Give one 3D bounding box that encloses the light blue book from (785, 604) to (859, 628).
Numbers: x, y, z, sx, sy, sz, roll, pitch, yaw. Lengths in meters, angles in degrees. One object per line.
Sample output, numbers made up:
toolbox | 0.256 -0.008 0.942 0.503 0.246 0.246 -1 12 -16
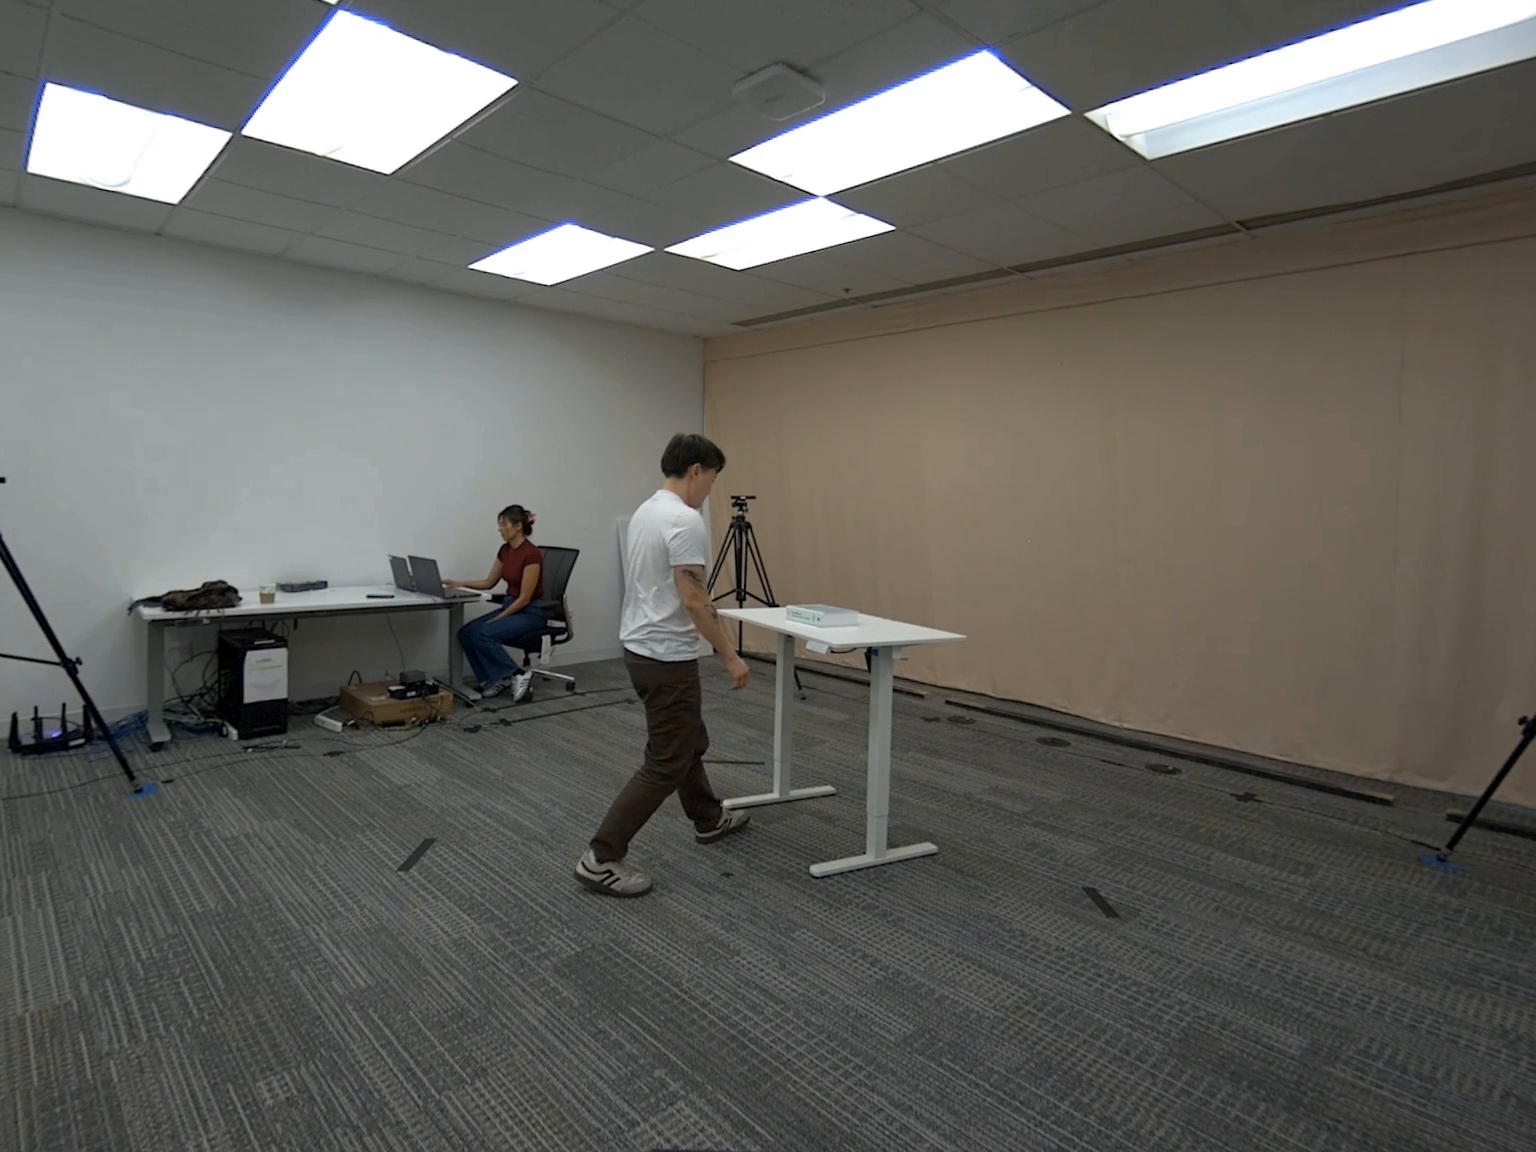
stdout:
light blue book | 0.222 0.166 3.529 0.187 0.059 0.267 -2 6 -32
